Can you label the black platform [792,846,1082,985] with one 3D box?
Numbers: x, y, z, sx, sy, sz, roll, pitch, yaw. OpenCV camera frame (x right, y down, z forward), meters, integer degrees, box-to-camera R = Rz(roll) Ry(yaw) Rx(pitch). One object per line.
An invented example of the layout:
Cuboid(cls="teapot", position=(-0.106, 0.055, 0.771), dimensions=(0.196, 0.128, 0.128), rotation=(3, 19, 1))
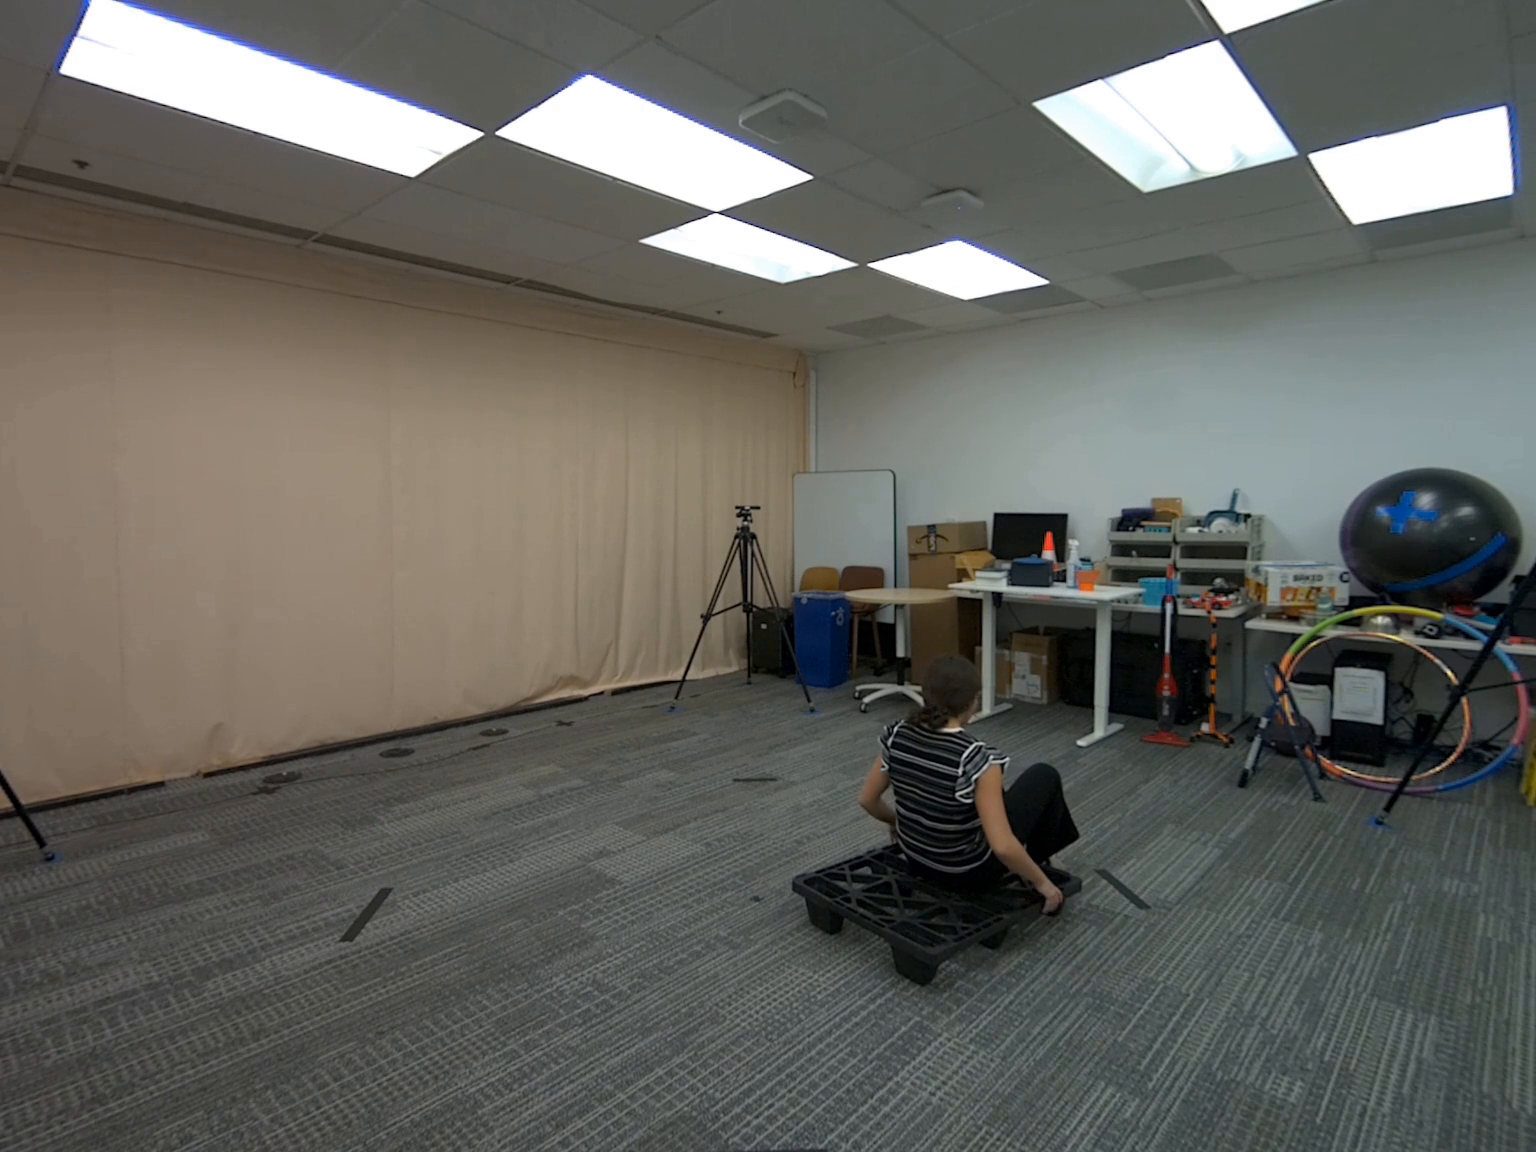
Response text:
Cuboid(cls="black platform", position=(0.574, 1.085, 2.833), dimensions=(0.781, 0.143, 0.625), rotation=(-3, 7, -39))
